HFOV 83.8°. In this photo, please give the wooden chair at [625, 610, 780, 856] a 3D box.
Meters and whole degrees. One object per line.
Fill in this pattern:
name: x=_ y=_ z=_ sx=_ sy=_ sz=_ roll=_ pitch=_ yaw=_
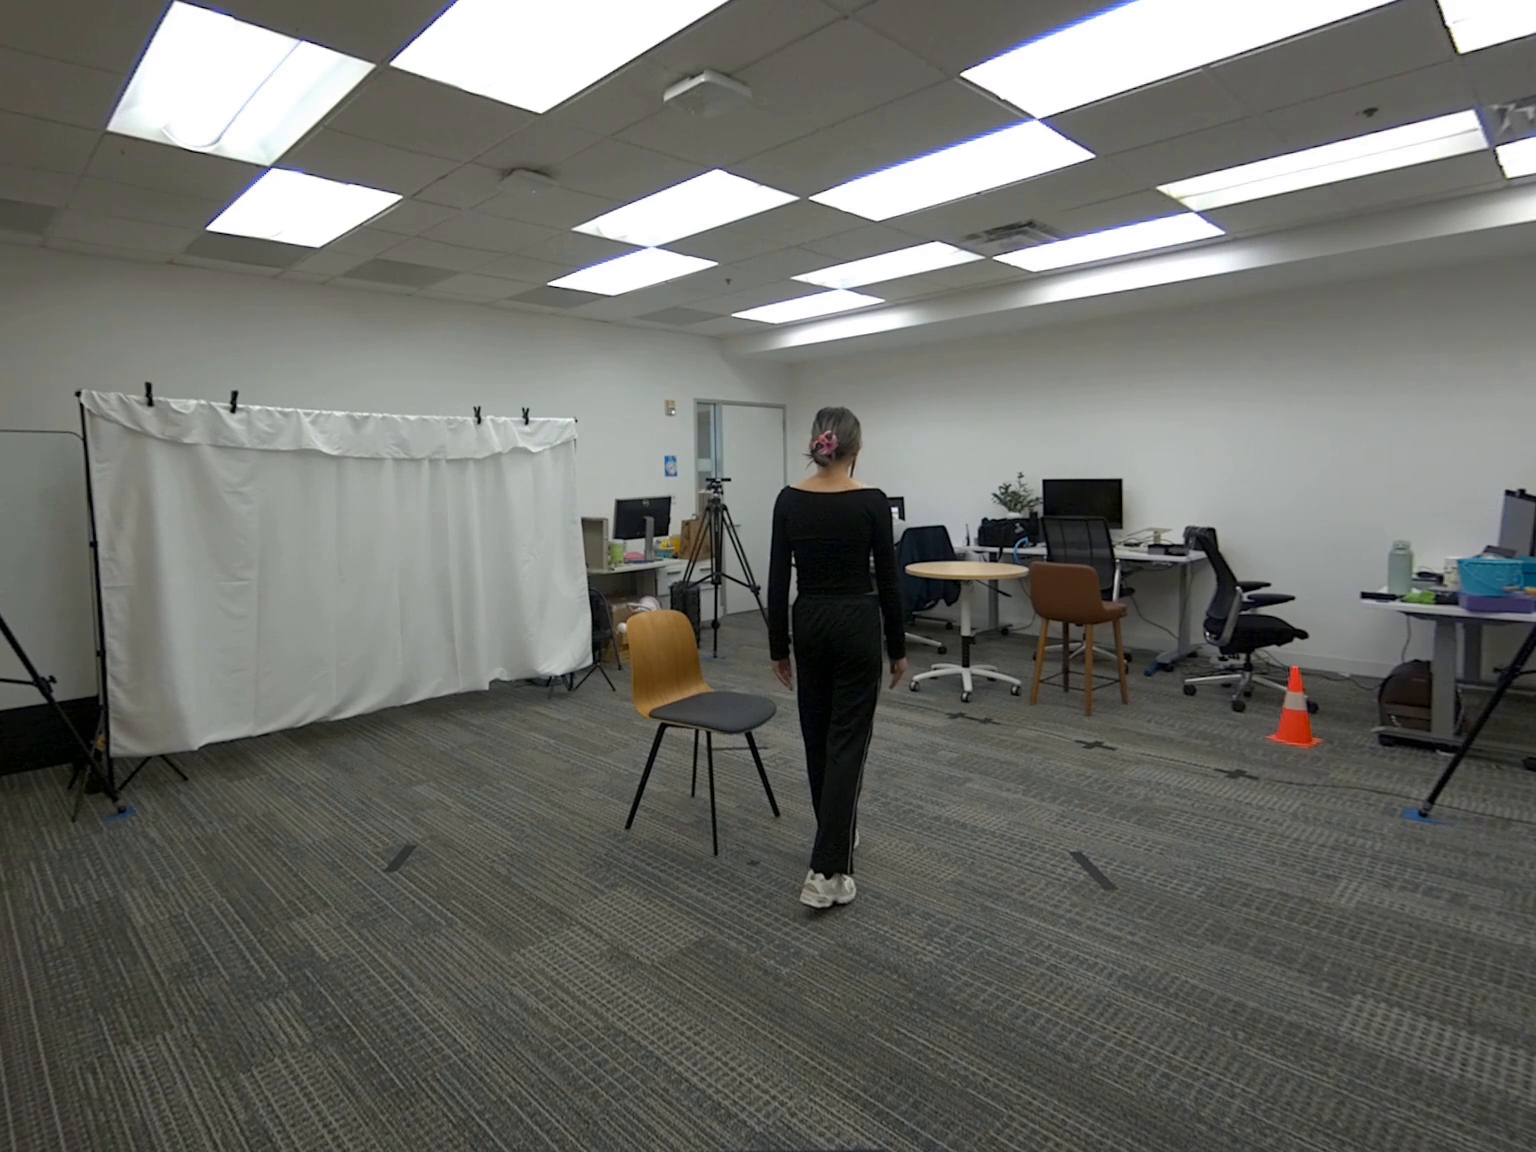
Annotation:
wooden chair: x=-0.261 y=0.582 z=3.440 sx=0.537 sy=0.876 sz=0.466 roll=-3 pitch=2 yaw=35
